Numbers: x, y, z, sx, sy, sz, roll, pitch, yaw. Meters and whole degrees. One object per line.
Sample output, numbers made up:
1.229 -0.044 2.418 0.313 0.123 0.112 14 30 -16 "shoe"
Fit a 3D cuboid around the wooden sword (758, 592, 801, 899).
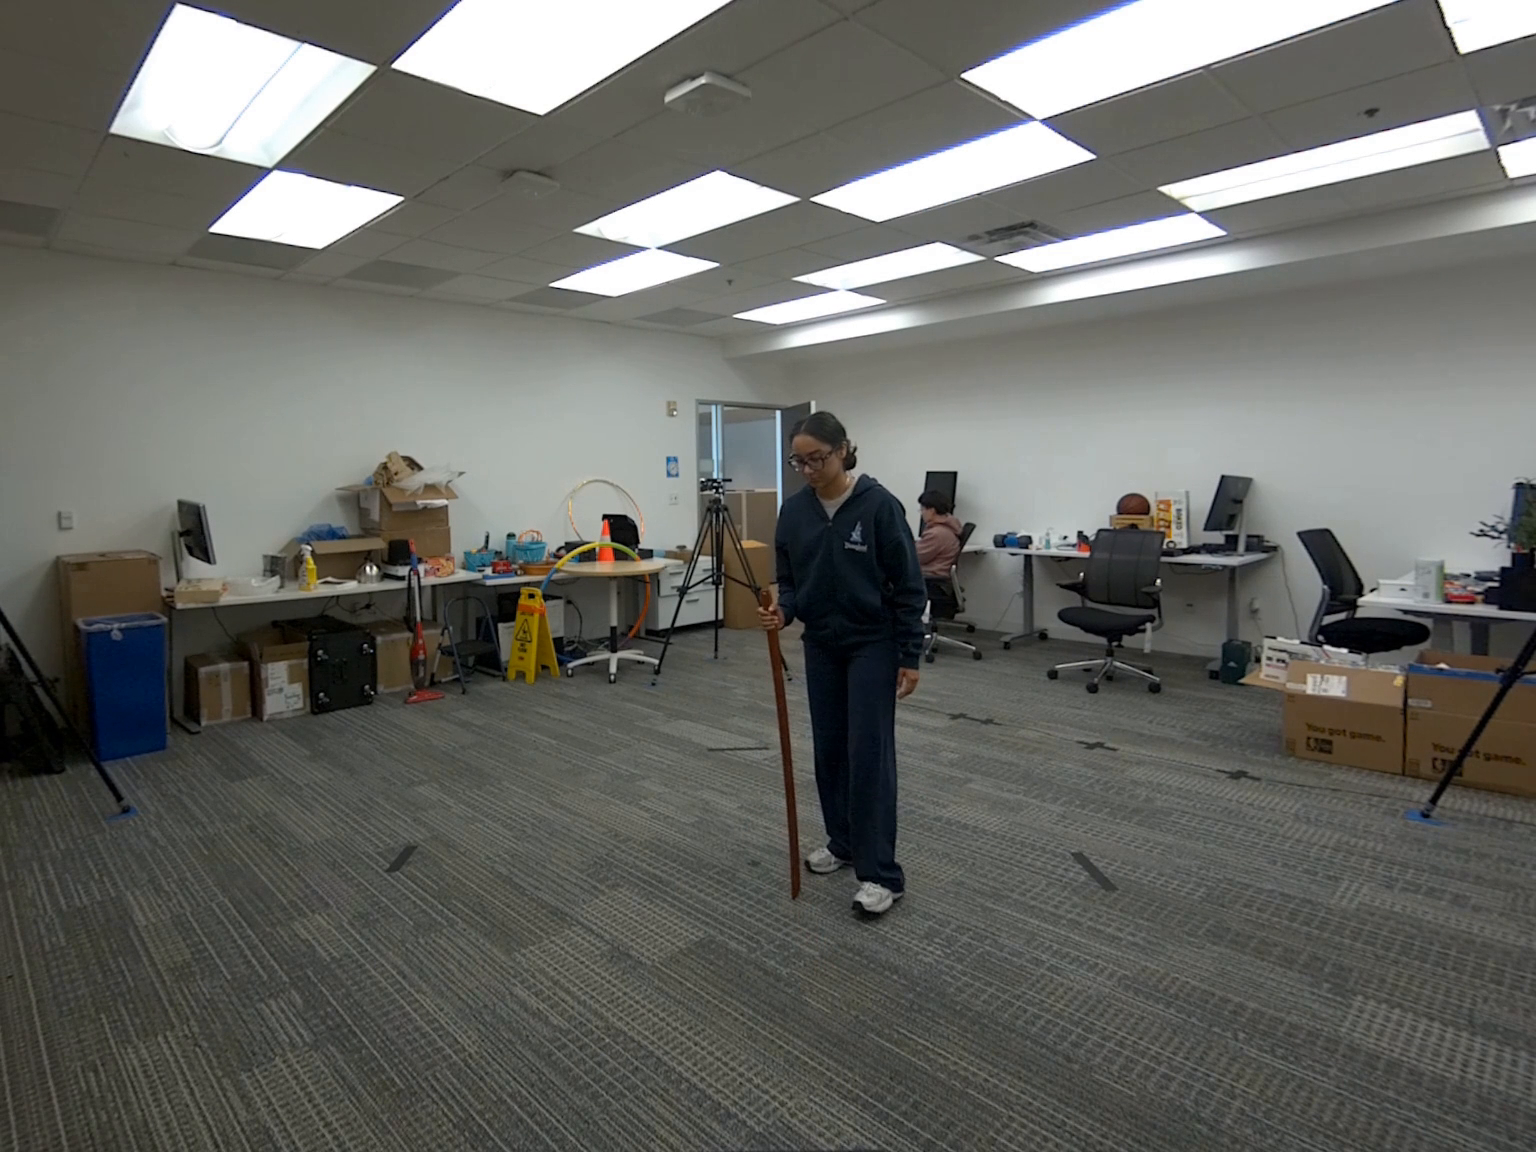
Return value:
0.067 0.579 2.820 0.024 1.023 0.050 -7 1 29 "wooden sword"
